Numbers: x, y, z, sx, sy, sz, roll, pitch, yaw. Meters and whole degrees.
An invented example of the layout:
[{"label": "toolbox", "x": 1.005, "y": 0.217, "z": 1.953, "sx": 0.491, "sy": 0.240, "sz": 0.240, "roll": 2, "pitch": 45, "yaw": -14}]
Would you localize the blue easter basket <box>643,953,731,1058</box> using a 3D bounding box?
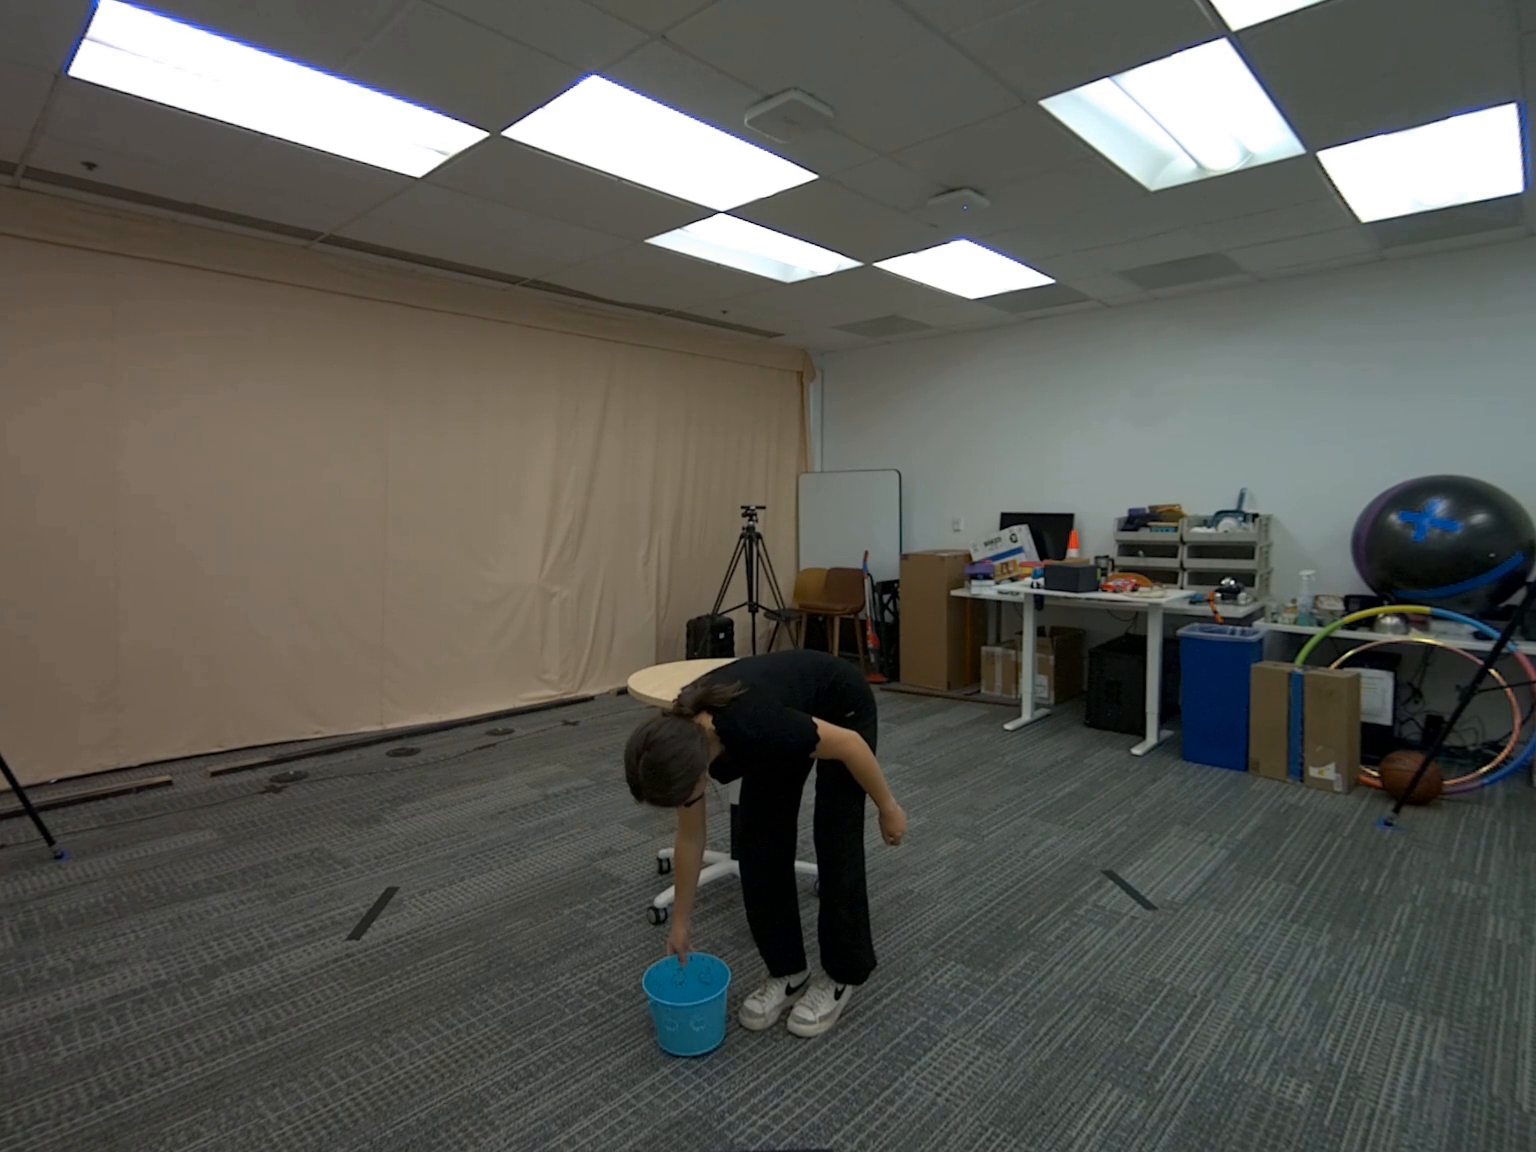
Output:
[{"label": "blue easter basket", "x": -0.207, "y": 1.103, "z": 2.202, "sx": 0.243, "sy": 0.155, "sz": 0.244, "roll": -5, "pitch": 5, "yaw": -1}]
